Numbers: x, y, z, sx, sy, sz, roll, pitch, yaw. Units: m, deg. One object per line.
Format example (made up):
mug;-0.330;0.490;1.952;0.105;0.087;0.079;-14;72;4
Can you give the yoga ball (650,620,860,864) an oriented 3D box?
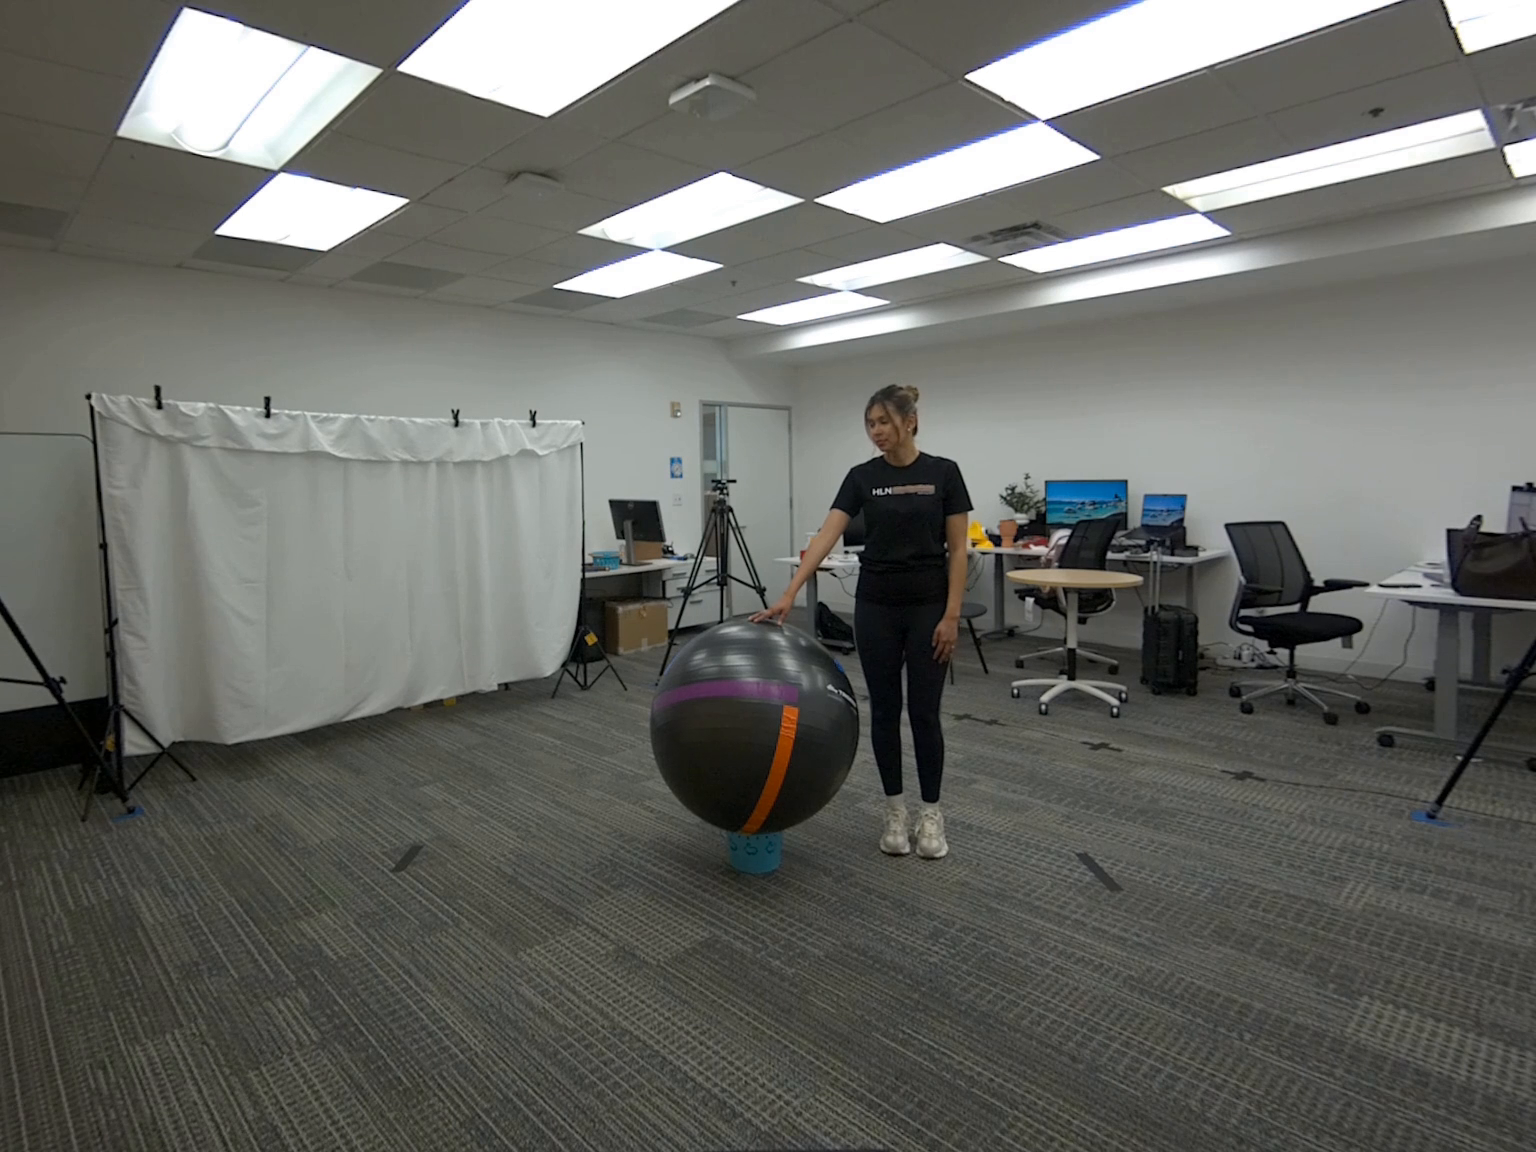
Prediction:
yoga ball;-0.047;0.539;3.104;0.757;0.755;0.762;-1;5;-2
